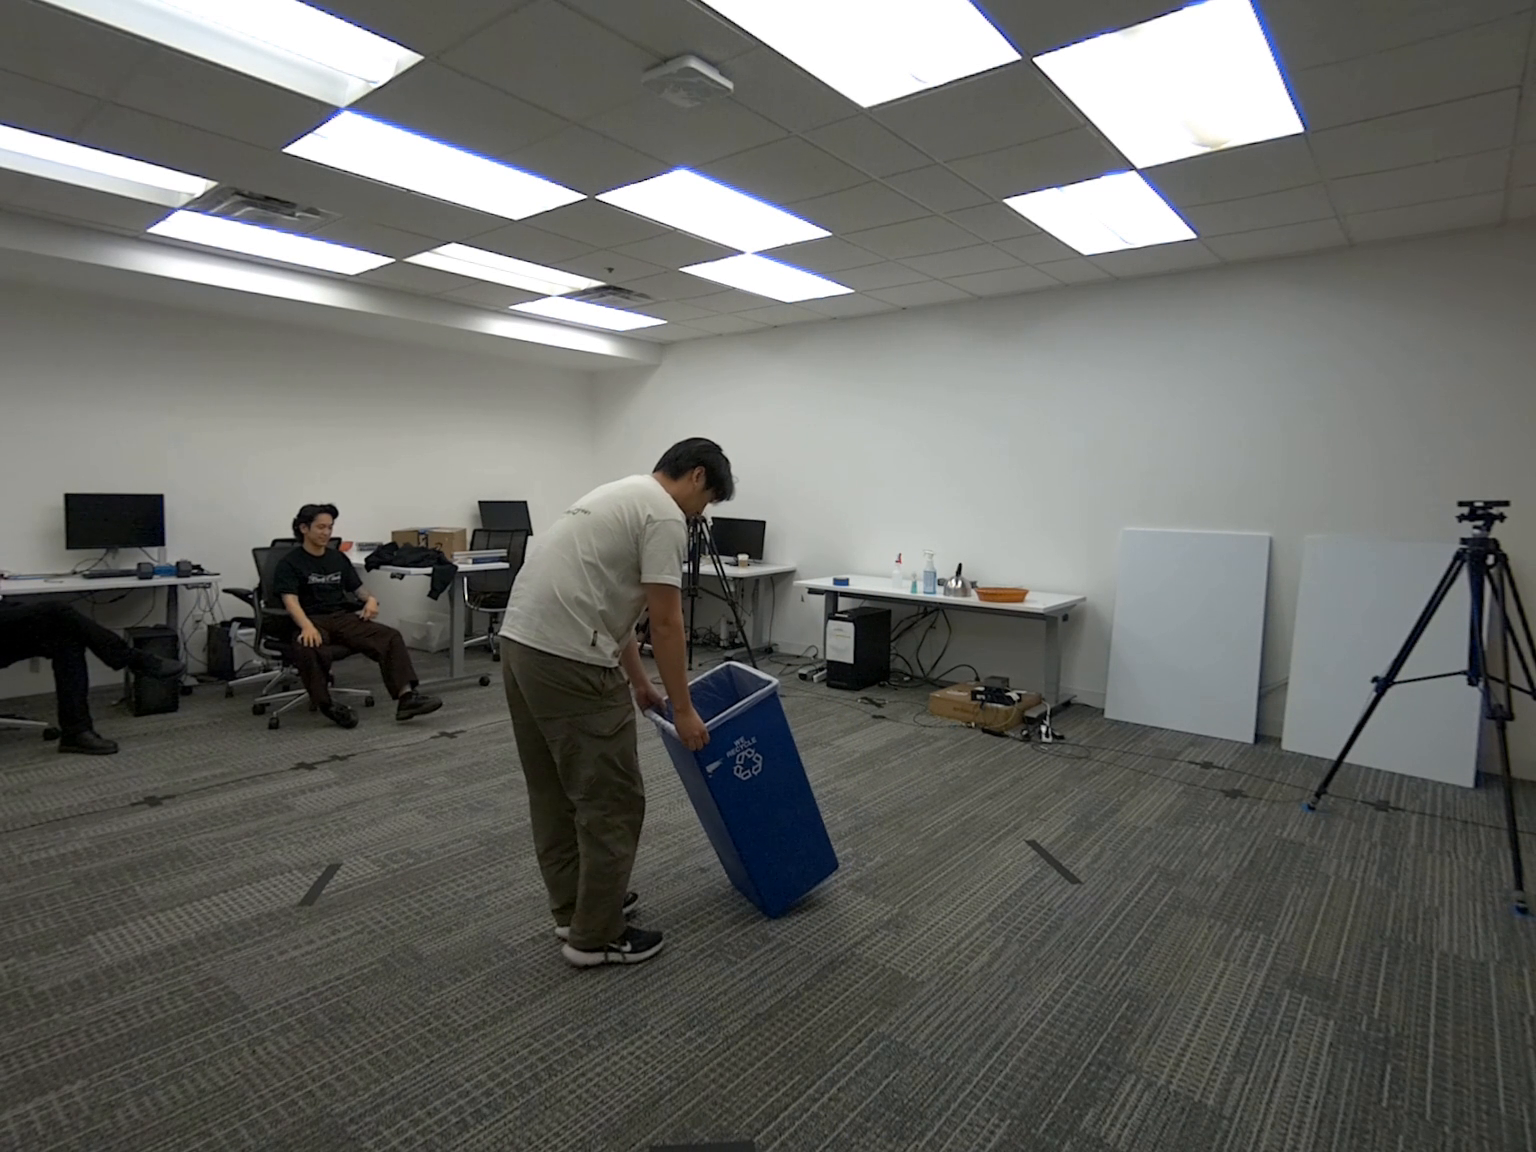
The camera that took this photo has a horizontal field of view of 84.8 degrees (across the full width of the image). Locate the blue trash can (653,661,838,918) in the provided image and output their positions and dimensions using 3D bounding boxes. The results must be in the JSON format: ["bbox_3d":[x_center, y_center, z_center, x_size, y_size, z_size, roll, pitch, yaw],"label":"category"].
[{"bbox_3d":[-0.073,0.707,2.867,0.370,0.701,0.389,-28,16,-25],"label":"blue trash can"}]
